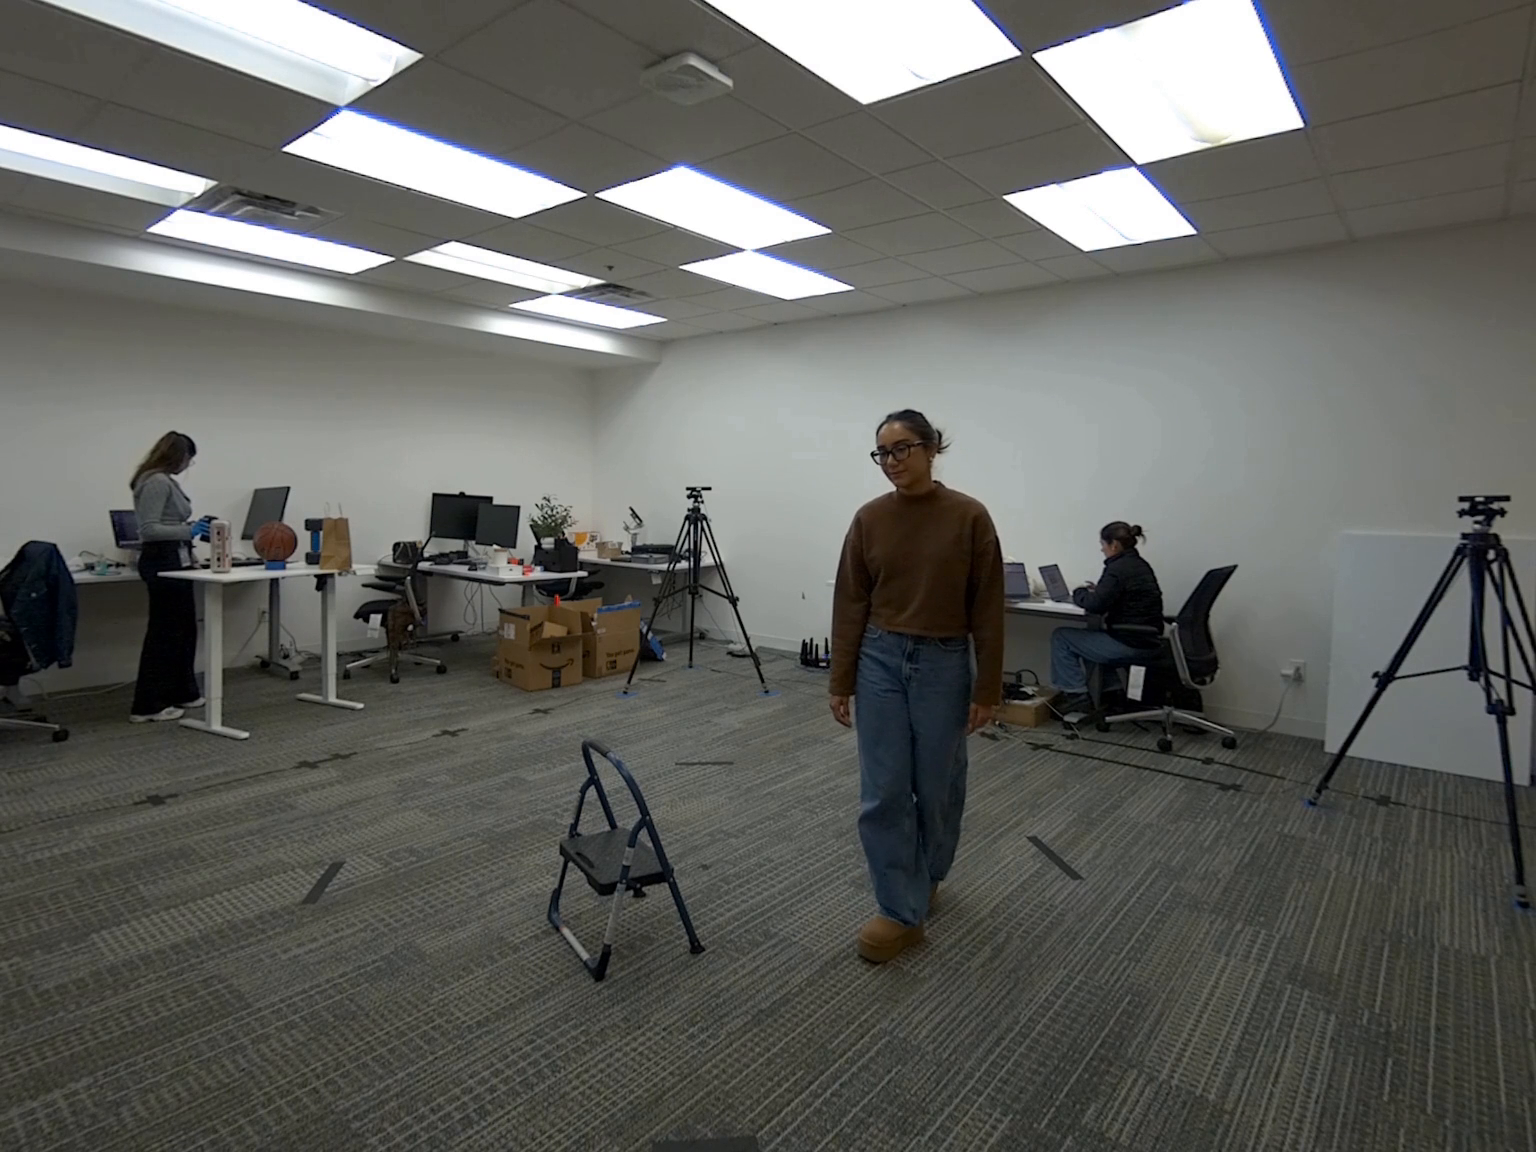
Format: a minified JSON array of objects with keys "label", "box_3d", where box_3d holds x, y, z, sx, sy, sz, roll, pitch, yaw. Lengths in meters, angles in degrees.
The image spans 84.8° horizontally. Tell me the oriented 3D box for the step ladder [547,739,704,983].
[{"label":"step ladder","box_3d":[-0.461,0.807,2.623,0.339,0.604,0.444,-2,4,-34]}]
